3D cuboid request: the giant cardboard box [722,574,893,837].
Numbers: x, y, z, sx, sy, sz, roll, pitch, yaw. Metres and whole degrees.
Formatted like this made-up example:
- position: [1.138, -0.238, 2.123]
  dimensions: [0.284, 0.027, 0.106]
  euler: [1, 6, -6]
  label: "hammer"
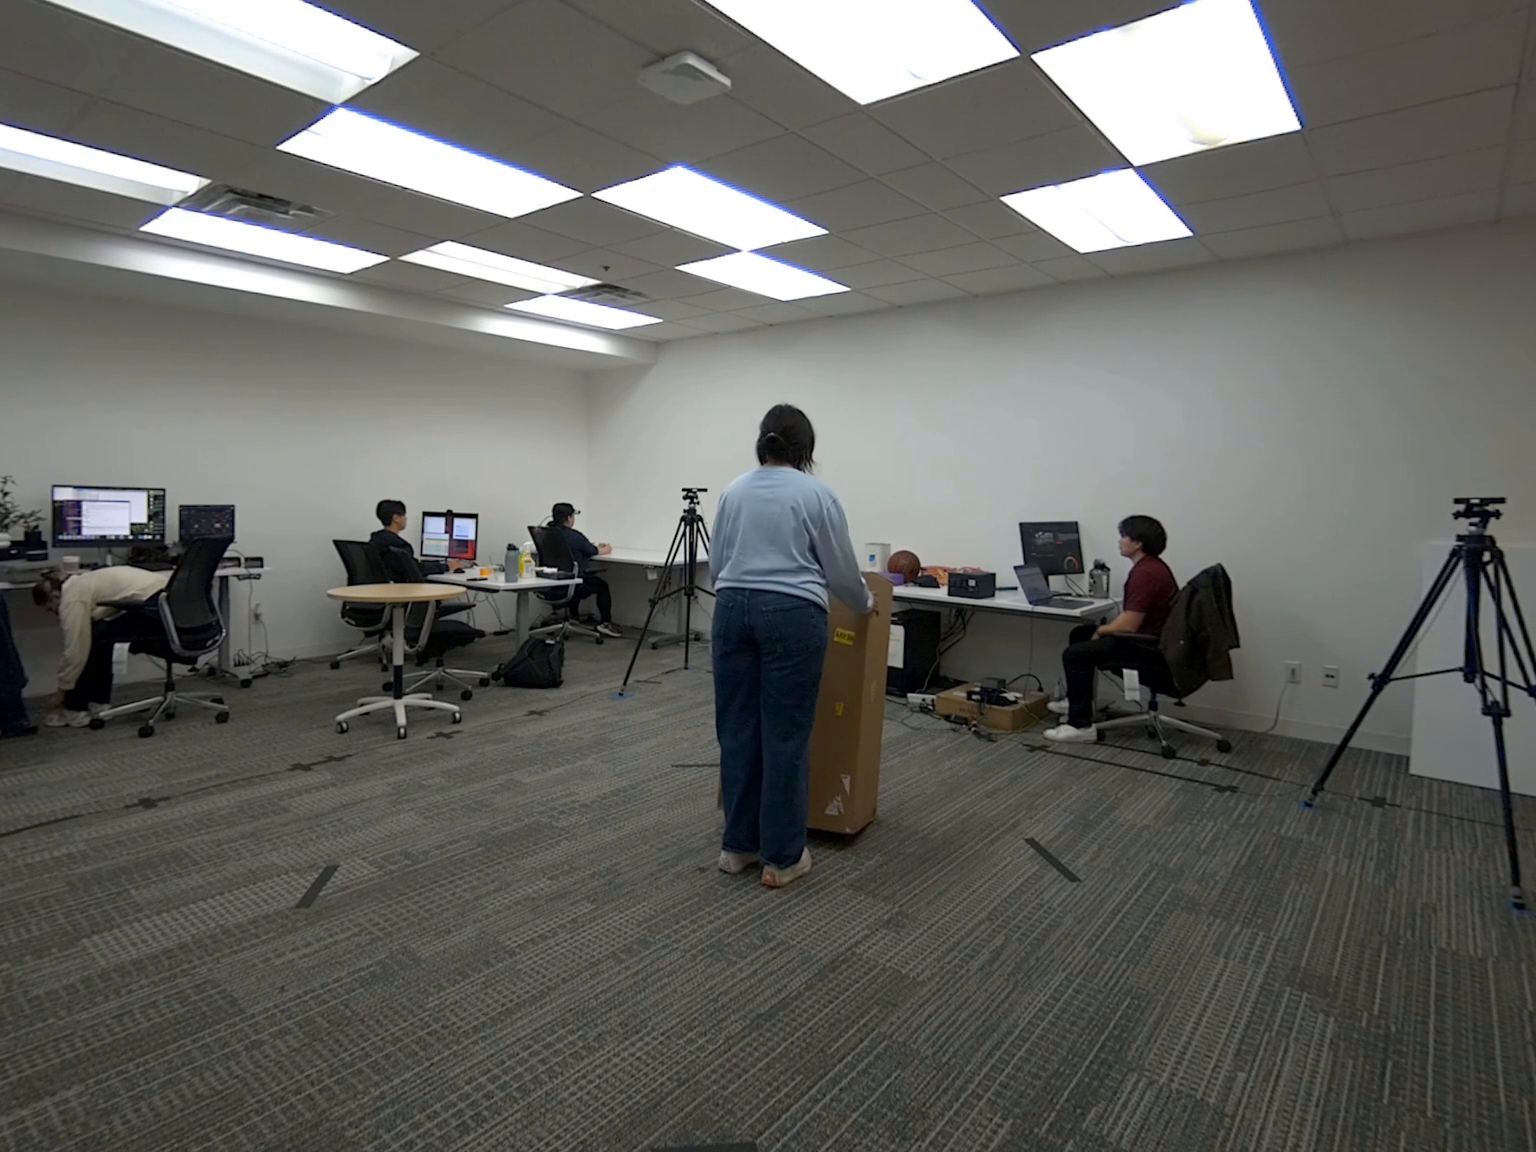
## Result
- position: [0.168, 0.492, 3.636]
  dimensions: [0.599, 1.032, 0.433]
  euler: [3, -6, 24]
  label: "giant cardboard box"
